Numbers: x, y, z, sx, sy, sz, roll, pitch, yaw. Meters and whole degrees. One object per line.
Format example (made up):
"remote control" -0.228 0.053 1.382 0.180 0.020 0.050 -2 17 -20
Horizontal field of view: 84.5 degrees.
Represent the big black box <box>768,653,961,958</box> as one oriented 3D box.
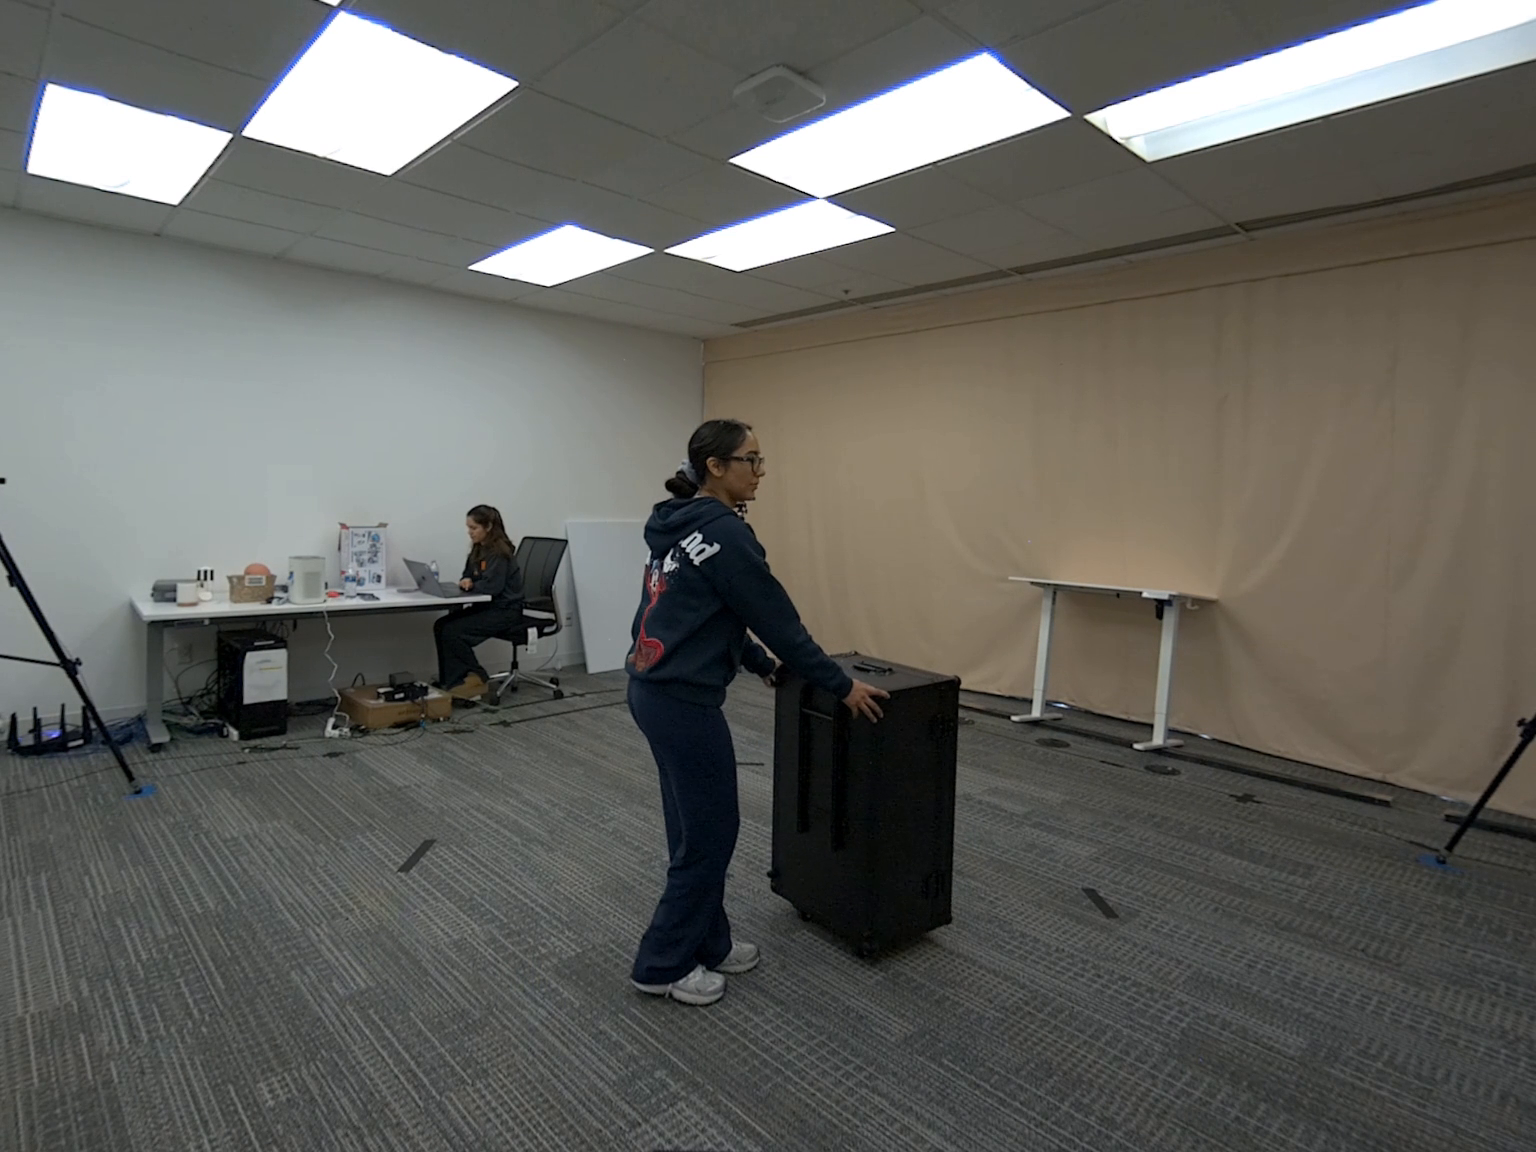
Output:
"big black box" 0.295 0.729 2.717 0.388 0.858 0.534 -4 7 -37
